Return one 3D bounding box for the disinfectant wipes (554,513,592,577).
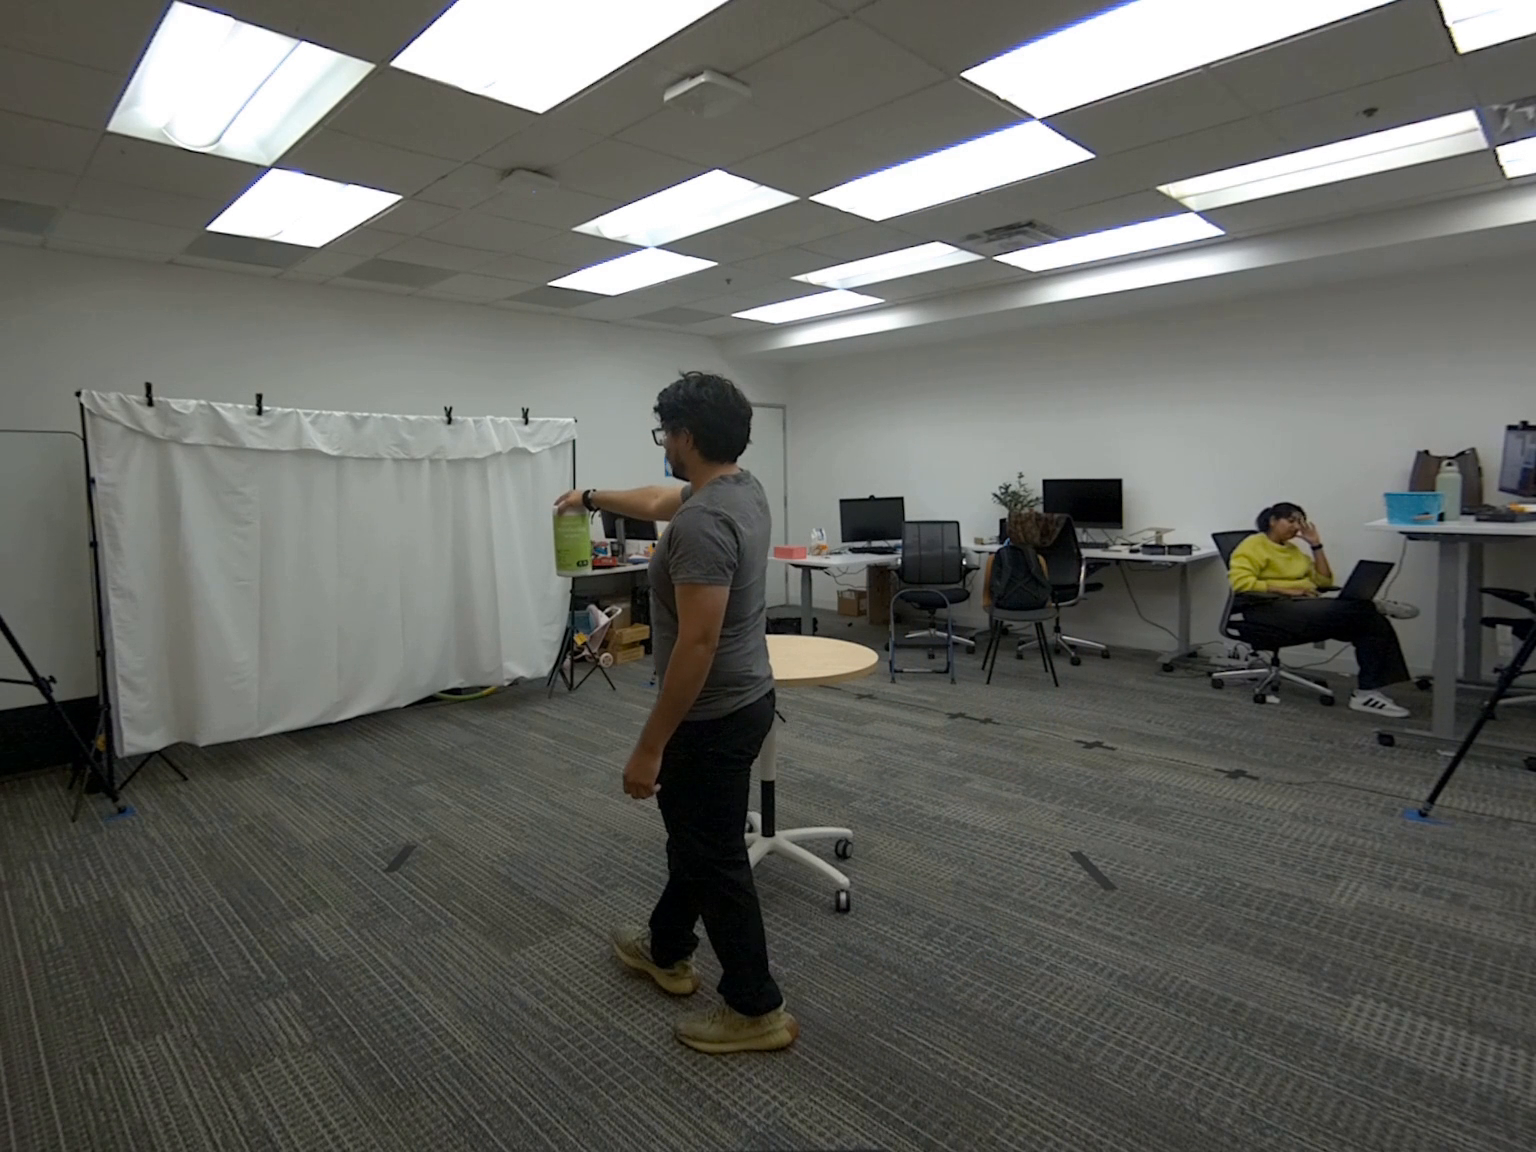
[{"bbox_3d":[-0.593,-0.111,2.602,0.118,0.216,0.118,-1,6,-2],"label":"disinfectant wipes"}]
